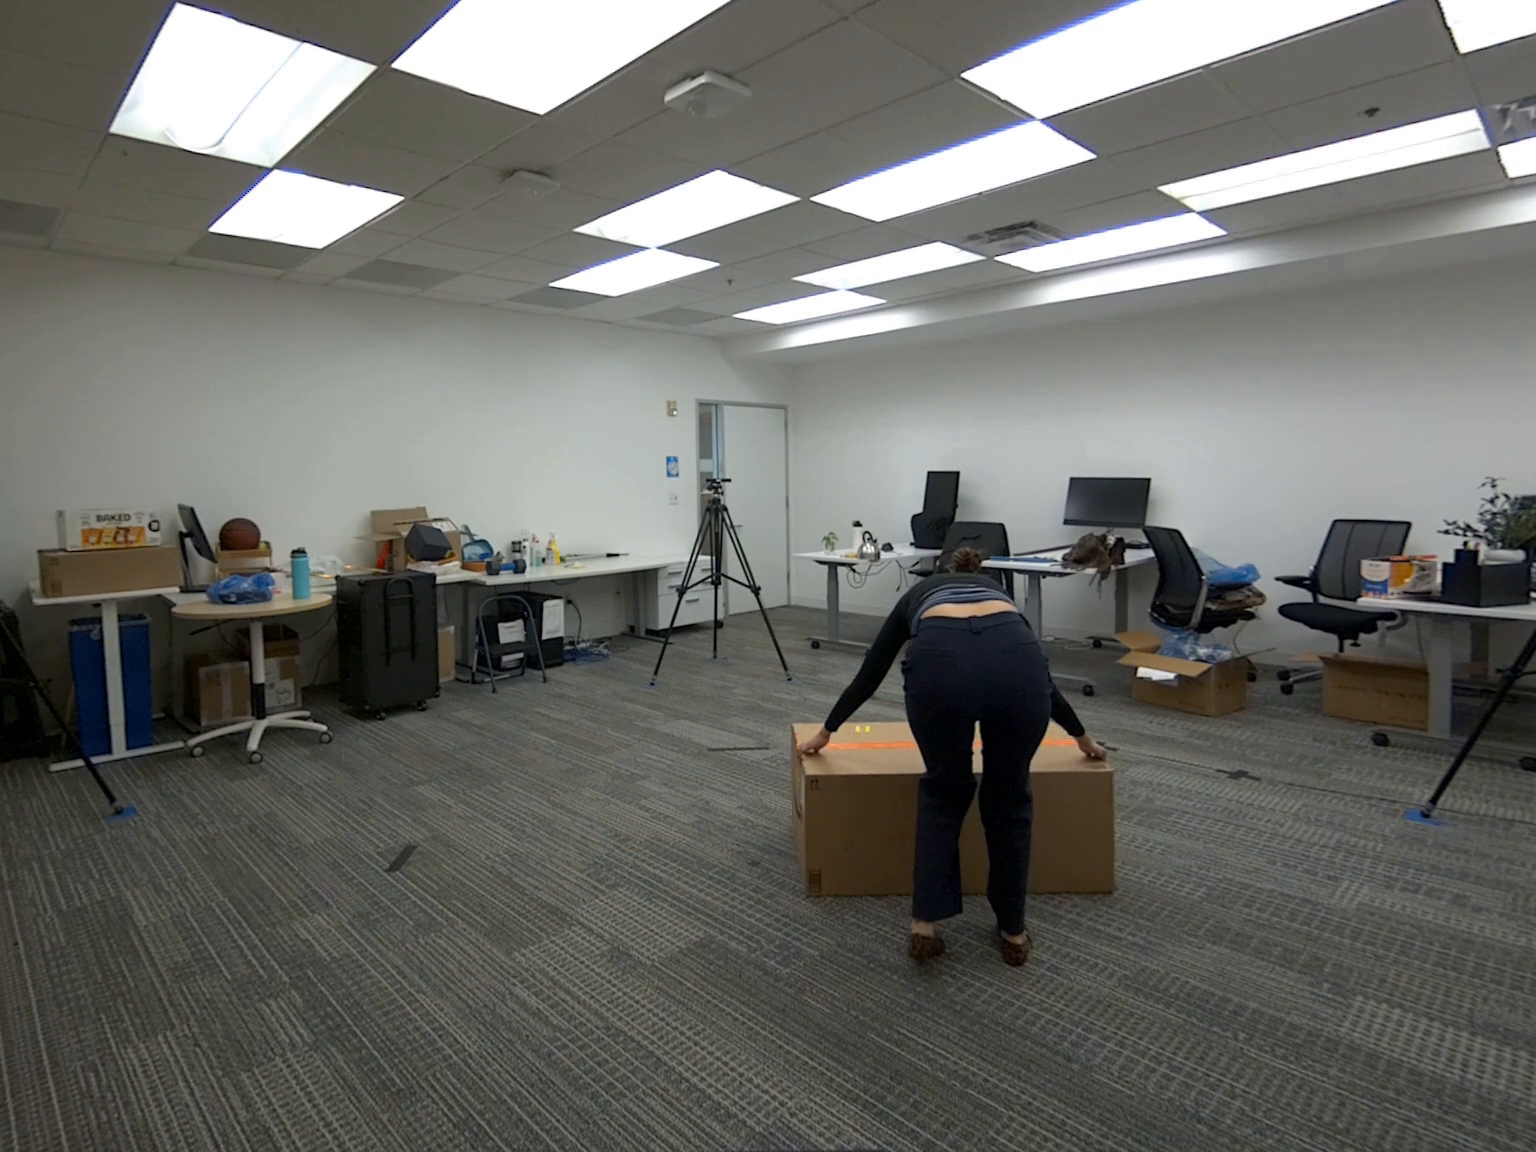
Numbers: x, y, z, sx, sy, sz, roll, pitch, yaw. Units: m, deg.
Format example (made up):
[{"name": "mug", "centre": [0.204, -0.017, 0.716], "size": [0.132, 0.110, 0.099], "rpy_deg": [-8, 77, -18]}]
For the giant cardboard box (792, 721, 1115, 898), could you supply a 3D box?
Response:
[{"name": "giant cardboard box", "centre": [0.618, 0.814, 3.108], "size": [1.026, 0.424, 0.580], "rpy_deg": [-1, 5, 0]}]
